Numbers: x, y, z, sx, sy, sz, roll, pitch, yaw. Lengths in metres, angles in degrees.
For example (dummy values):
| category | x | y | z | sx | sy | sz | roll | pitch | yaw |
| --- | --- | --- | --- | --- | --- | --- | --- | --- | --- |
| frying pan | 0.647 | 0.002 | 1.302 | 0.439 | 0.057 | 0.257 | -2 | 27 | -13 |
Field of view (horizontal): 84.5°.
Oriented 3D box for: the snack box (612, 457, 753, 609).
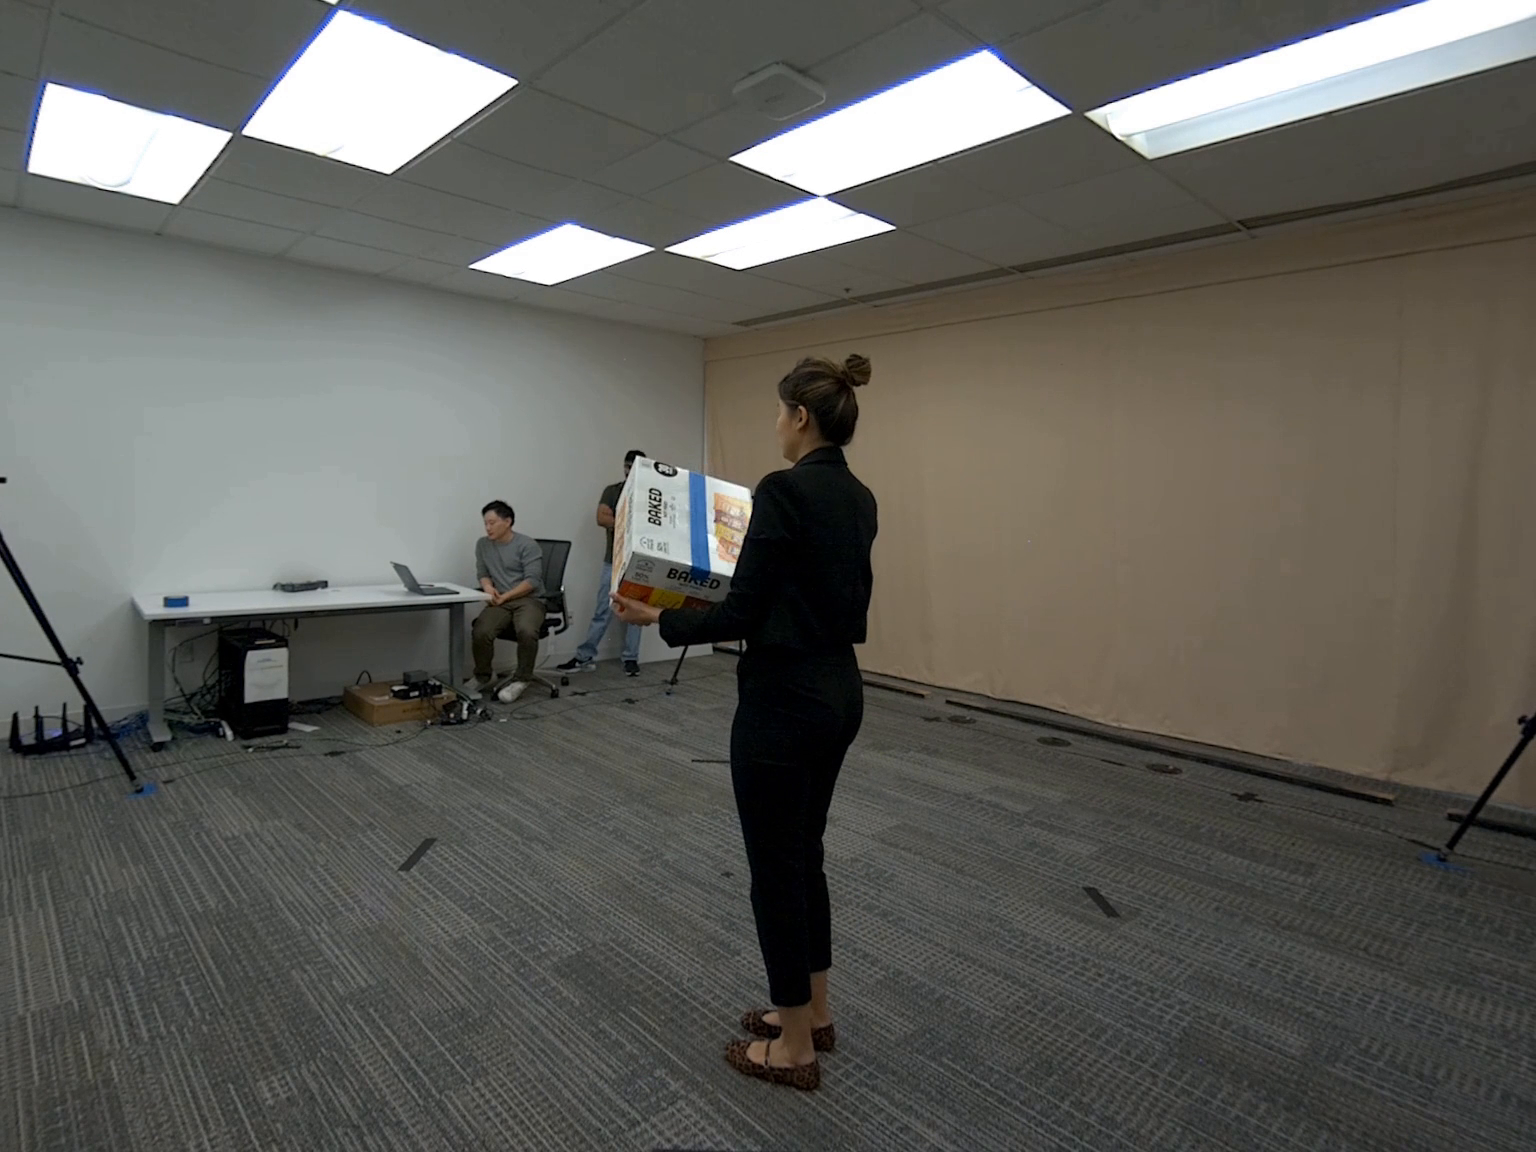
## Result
| category | x | y | z | sx | sy | sz | roll | pitch | yaw |
| --- | --- | --- | --- | --- | --- | --- | --- | --- | --- |
| snack box | -0.238 | -0.080 | 2.239 | 0.335 | 0.204 | 0.415 | 14 | 38 | -18 |
